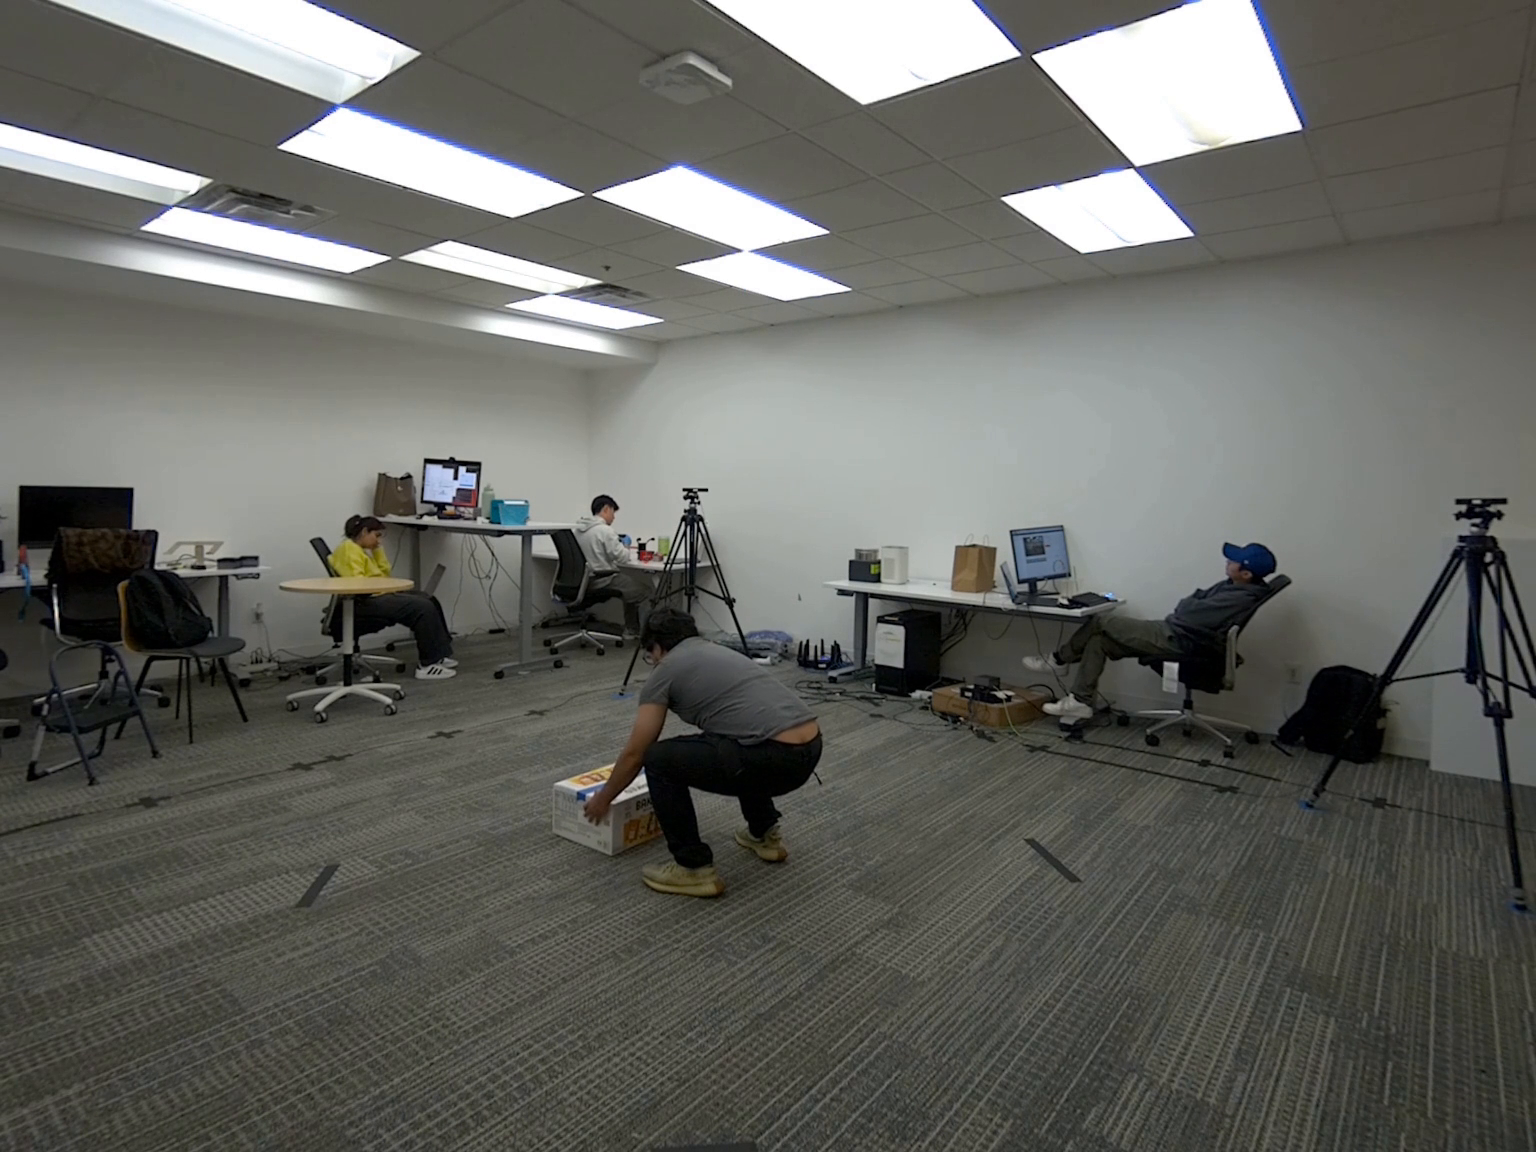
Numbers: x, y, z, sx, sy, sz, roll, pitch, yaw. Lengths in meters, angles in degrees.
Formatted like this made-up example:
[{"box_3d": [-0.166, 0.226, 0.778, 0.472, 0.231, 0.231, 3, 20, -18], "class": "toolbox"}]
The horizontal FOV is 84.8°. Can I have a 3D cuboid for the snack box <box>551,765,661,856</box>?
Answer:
[{"box_3d": [-0.622, 0.929, 3.456, 0.351, 0.205, 0.394, 4, 6, 36], "class": "snack box"}]
